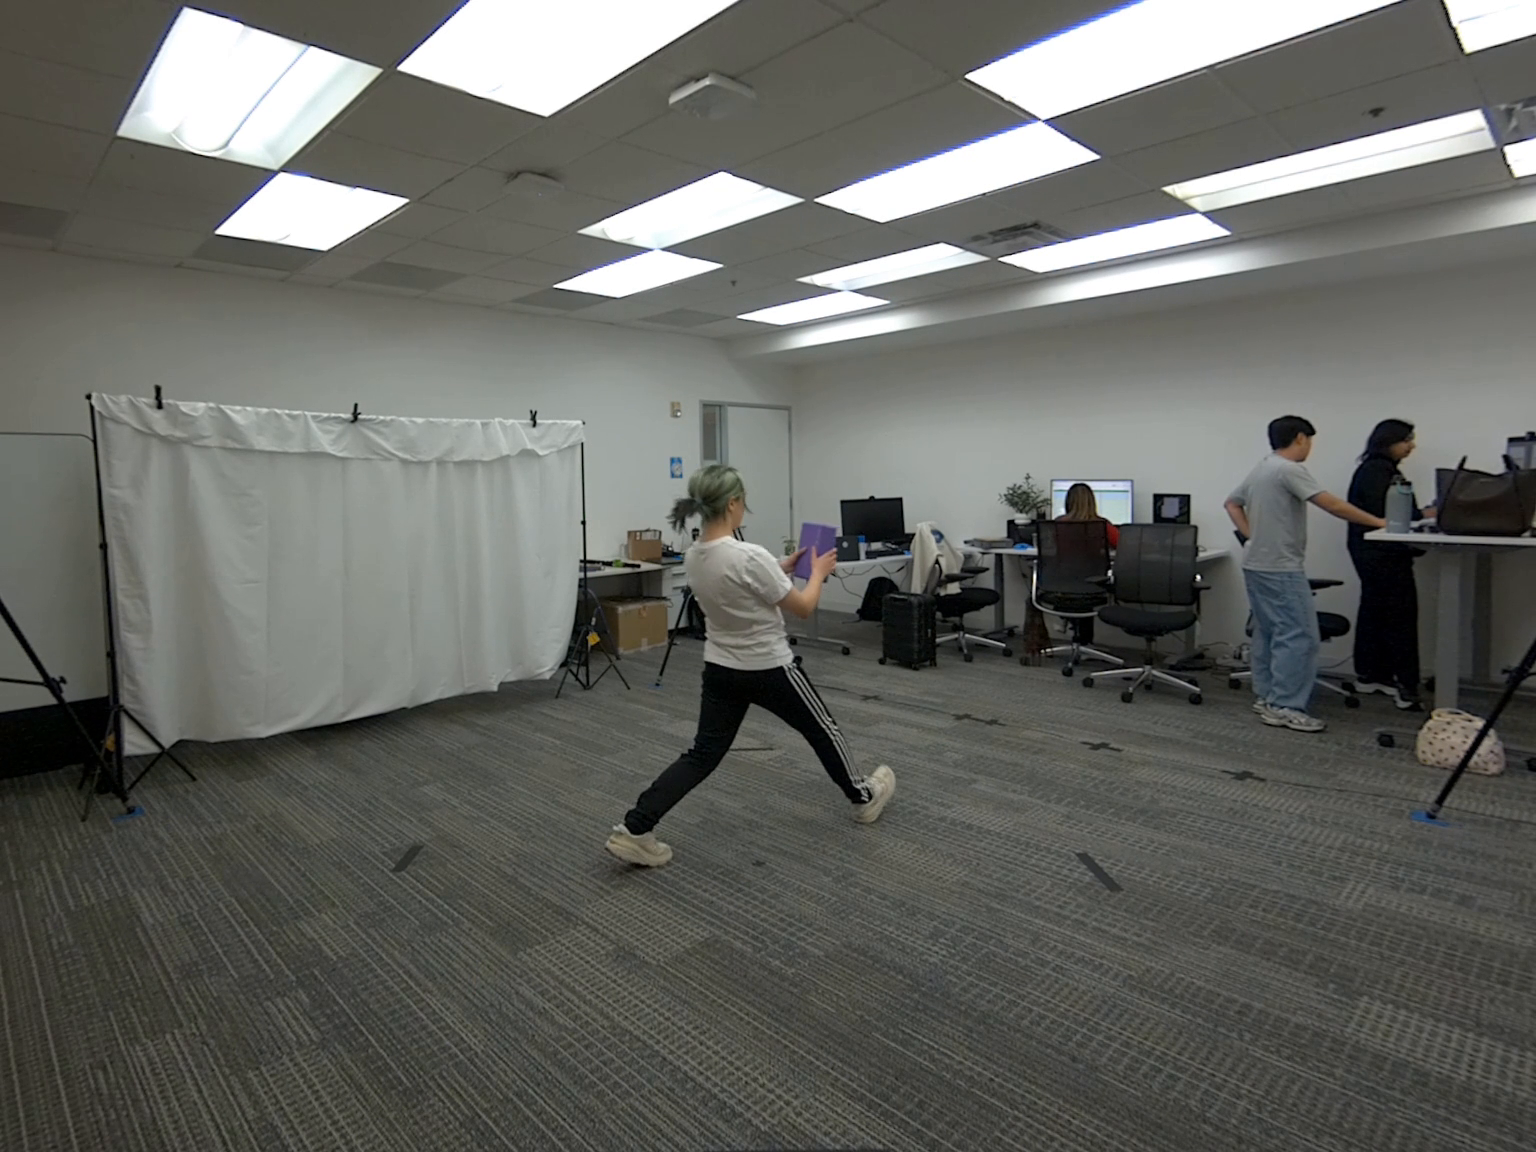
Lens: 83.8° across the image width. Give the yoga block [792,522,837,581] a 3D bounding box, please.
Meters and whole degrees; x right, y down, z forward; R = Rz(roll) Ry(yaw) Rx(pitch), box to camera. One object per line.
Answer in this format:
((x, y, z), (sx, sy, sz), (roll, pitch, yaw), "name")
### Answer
((0.198, -0.093, 3.464), (0.074, 0.229, 0.153), (10, 1, -30), "yoga block")
